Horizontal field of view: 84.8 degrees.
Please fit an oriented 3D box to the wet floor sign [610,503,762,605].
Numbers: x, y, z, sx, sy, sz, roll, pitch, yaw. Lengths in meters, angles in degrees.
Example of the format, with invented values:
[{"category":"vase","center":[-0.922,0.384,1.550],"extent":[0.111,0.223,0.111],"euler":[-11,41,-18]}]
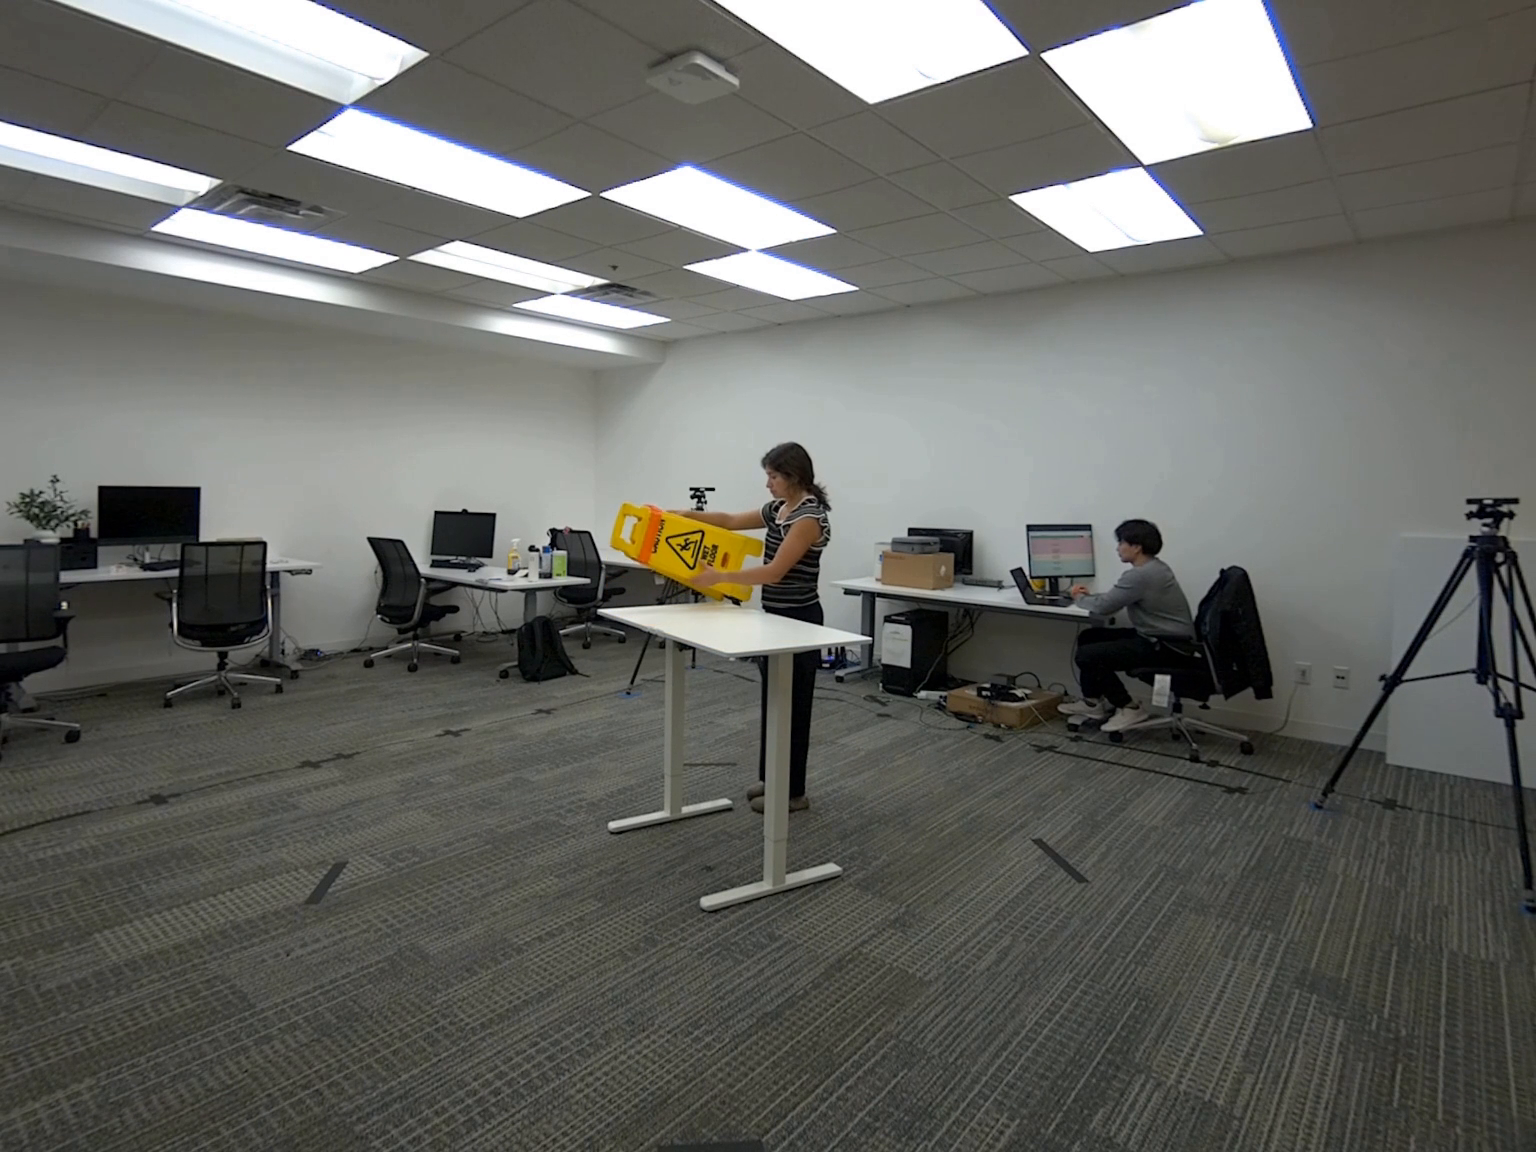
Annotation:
[{"category":"wet floor sign","center":[-0.384,-0.123,3.662],"extent":[0.625,0.284,0.297],"euler":[21,-12,-29]}]
